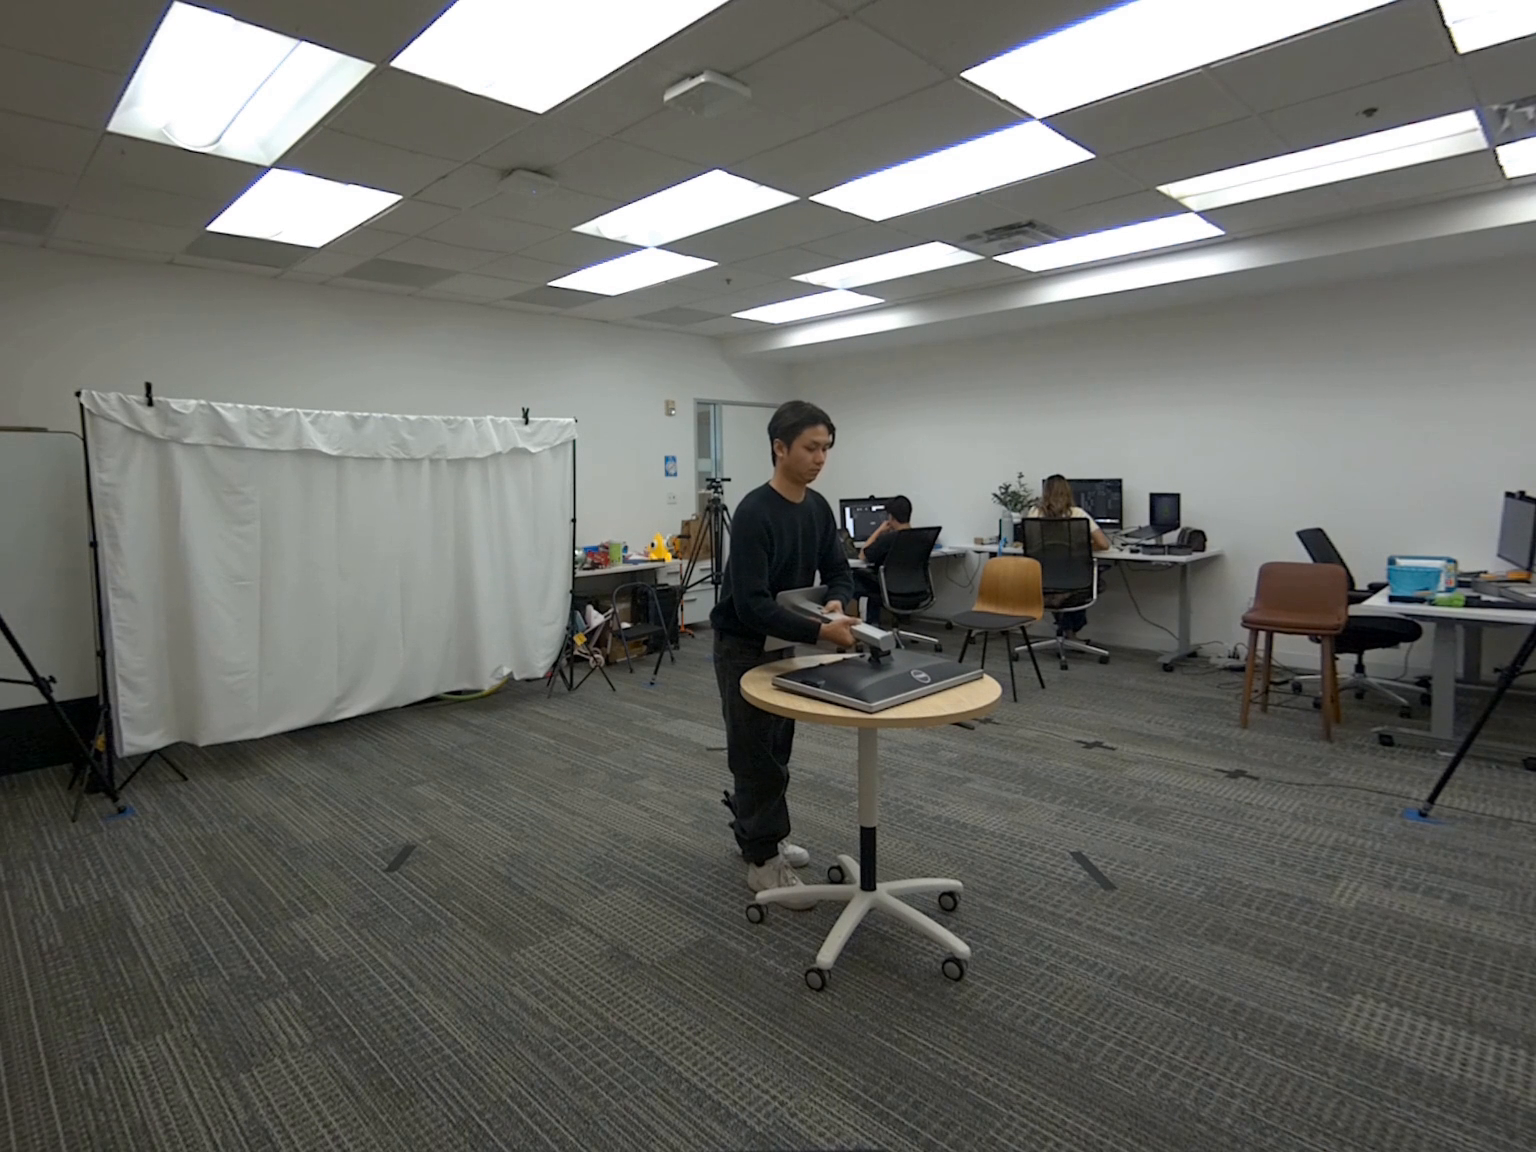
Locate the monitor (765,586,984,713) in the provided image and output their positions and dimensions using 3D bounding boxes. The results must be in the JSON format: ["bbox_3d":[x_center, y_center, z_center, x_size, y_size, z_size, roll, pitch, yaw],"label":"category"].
[{"bbox_3d":[0.282,0.232,2.584,0.526,0.185,0.542,-9,26,-43],"label":"monitor"}]
